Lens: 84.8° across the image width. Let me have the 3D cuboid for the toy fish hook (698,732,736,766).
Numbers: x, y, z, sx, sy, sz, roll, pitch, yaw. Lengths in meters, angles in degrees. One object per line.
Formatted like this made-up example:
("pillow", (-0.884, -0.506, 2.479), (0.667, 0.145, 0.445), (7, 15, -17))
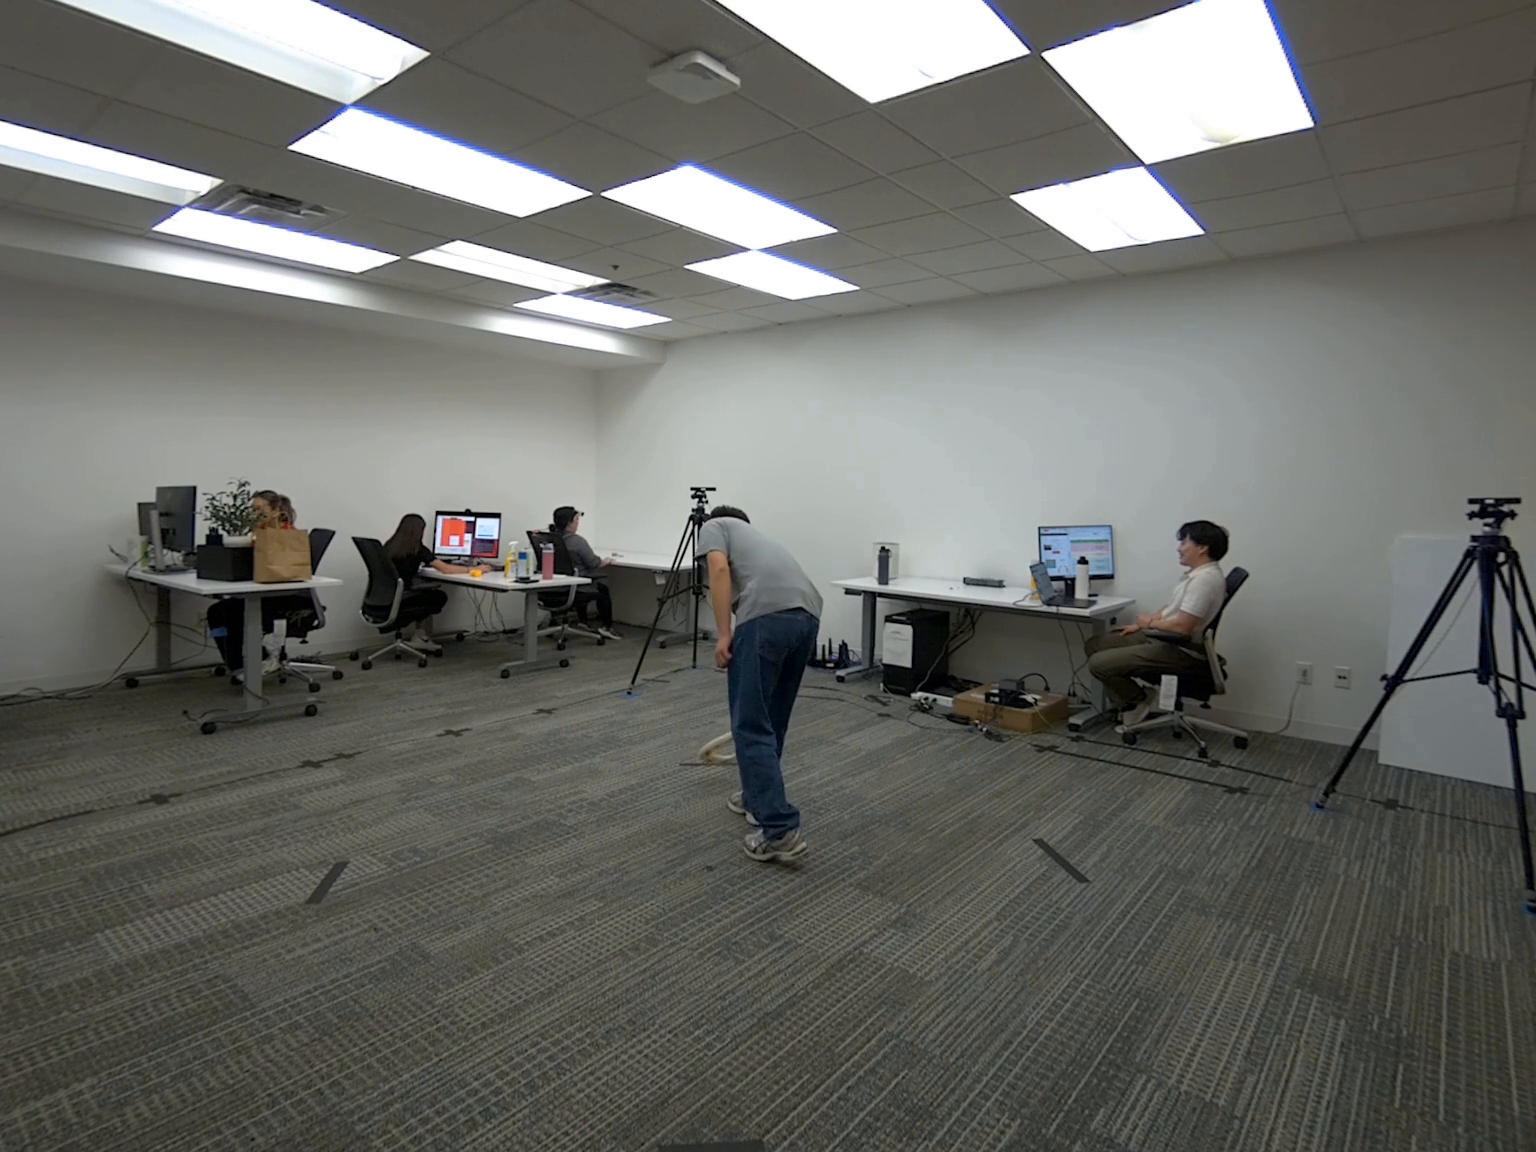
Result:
("toy fish hook", (-0.138, 0.746, 3.930), (0.217, 0.050, 0.508), (15, -44, -36))
